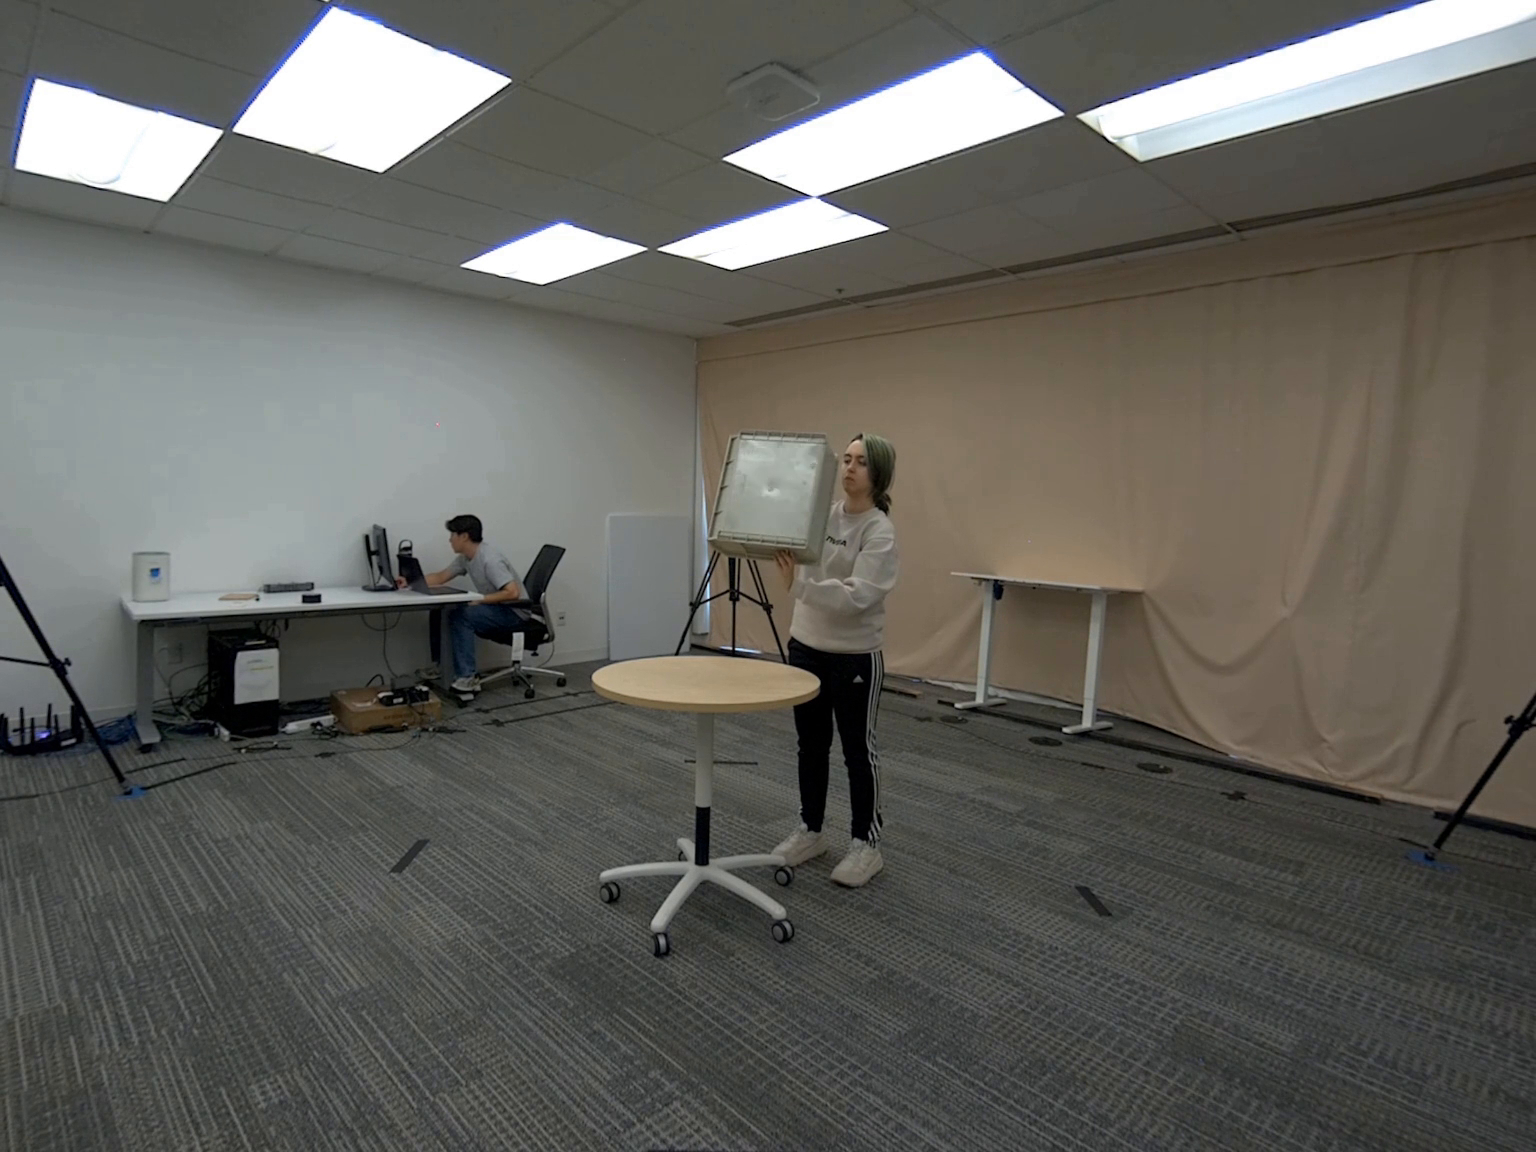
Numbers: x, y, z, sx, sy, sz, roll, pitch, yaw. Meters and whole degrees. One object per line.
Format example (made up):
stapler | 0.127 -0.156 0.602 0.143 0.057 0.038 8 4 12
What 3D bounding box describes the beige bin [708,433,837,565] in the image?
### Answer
beige bin | 0.013 -0.271 2.948 0.384 0.426 0.184 6 -17 20
